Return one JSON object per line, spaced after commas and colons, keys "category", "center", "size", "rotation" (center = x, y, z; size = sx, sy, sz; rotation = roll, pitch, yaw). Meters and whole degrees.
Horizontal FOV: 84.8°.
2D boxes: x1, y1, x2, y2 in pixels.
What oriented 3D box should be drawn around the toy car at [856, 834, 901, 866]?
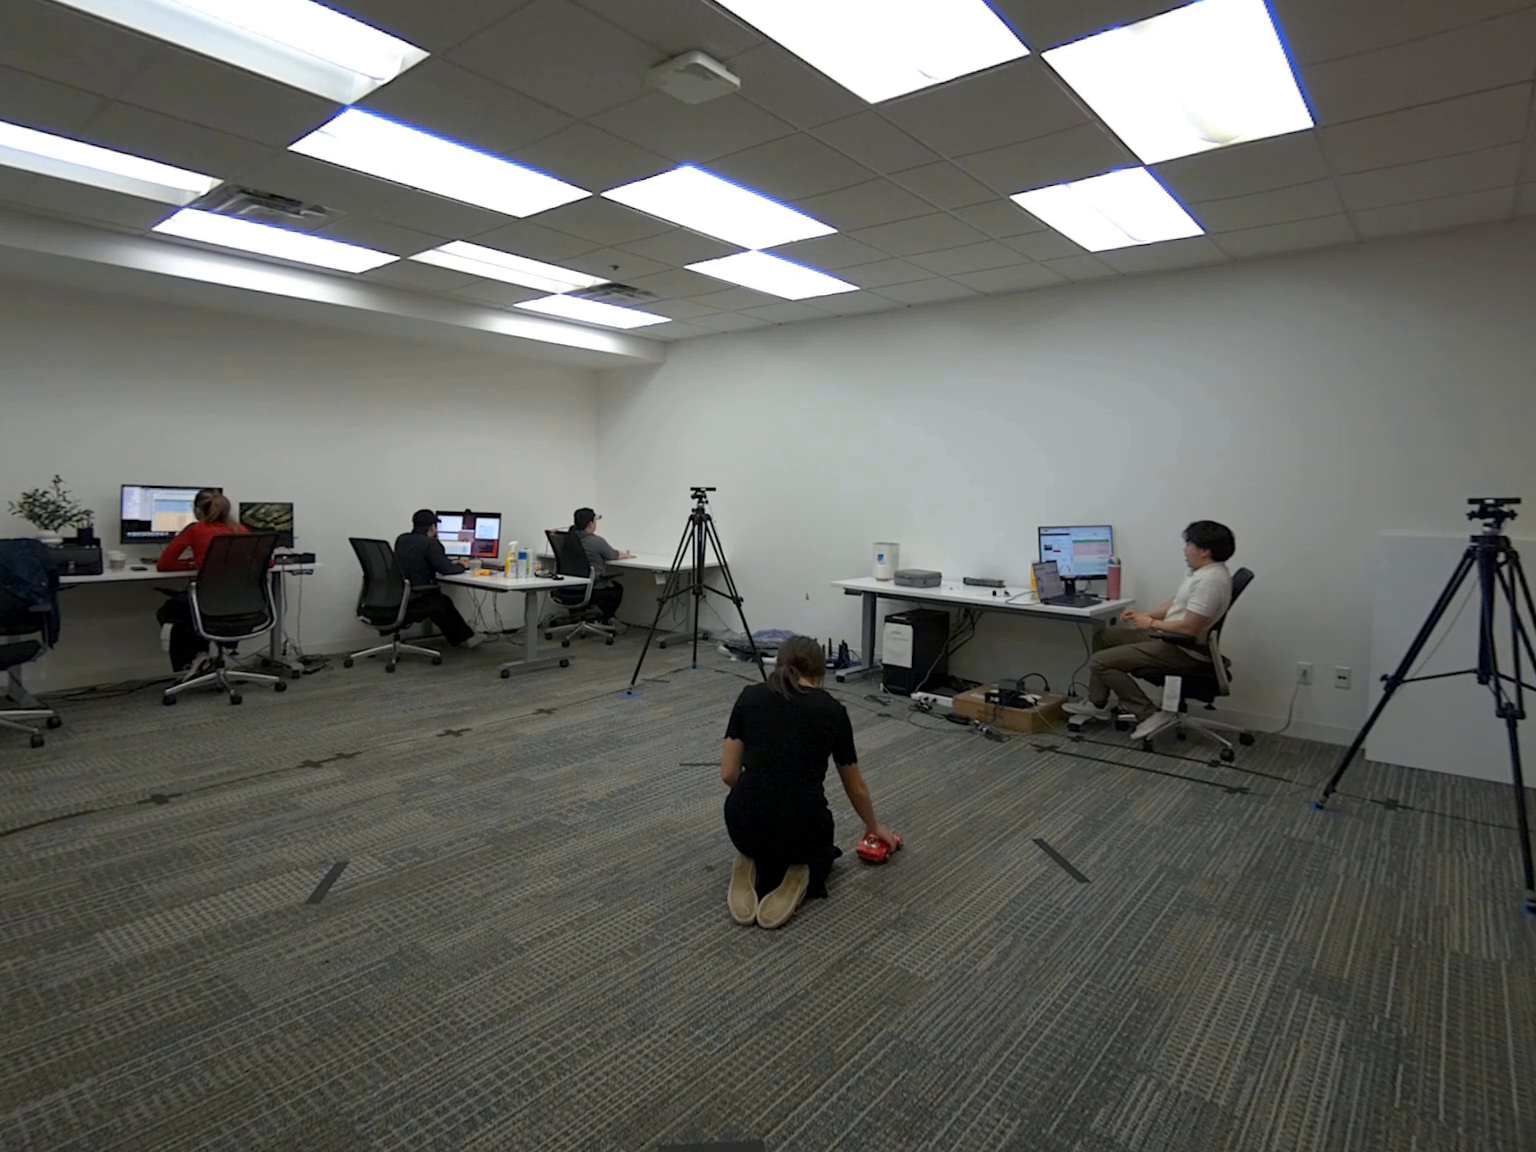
{"category": "toy car", "center": [0.415, 1.034, 3.259], "size": [0.134, 0.083, 0.246], "rotation": [5, -4, 30]}
